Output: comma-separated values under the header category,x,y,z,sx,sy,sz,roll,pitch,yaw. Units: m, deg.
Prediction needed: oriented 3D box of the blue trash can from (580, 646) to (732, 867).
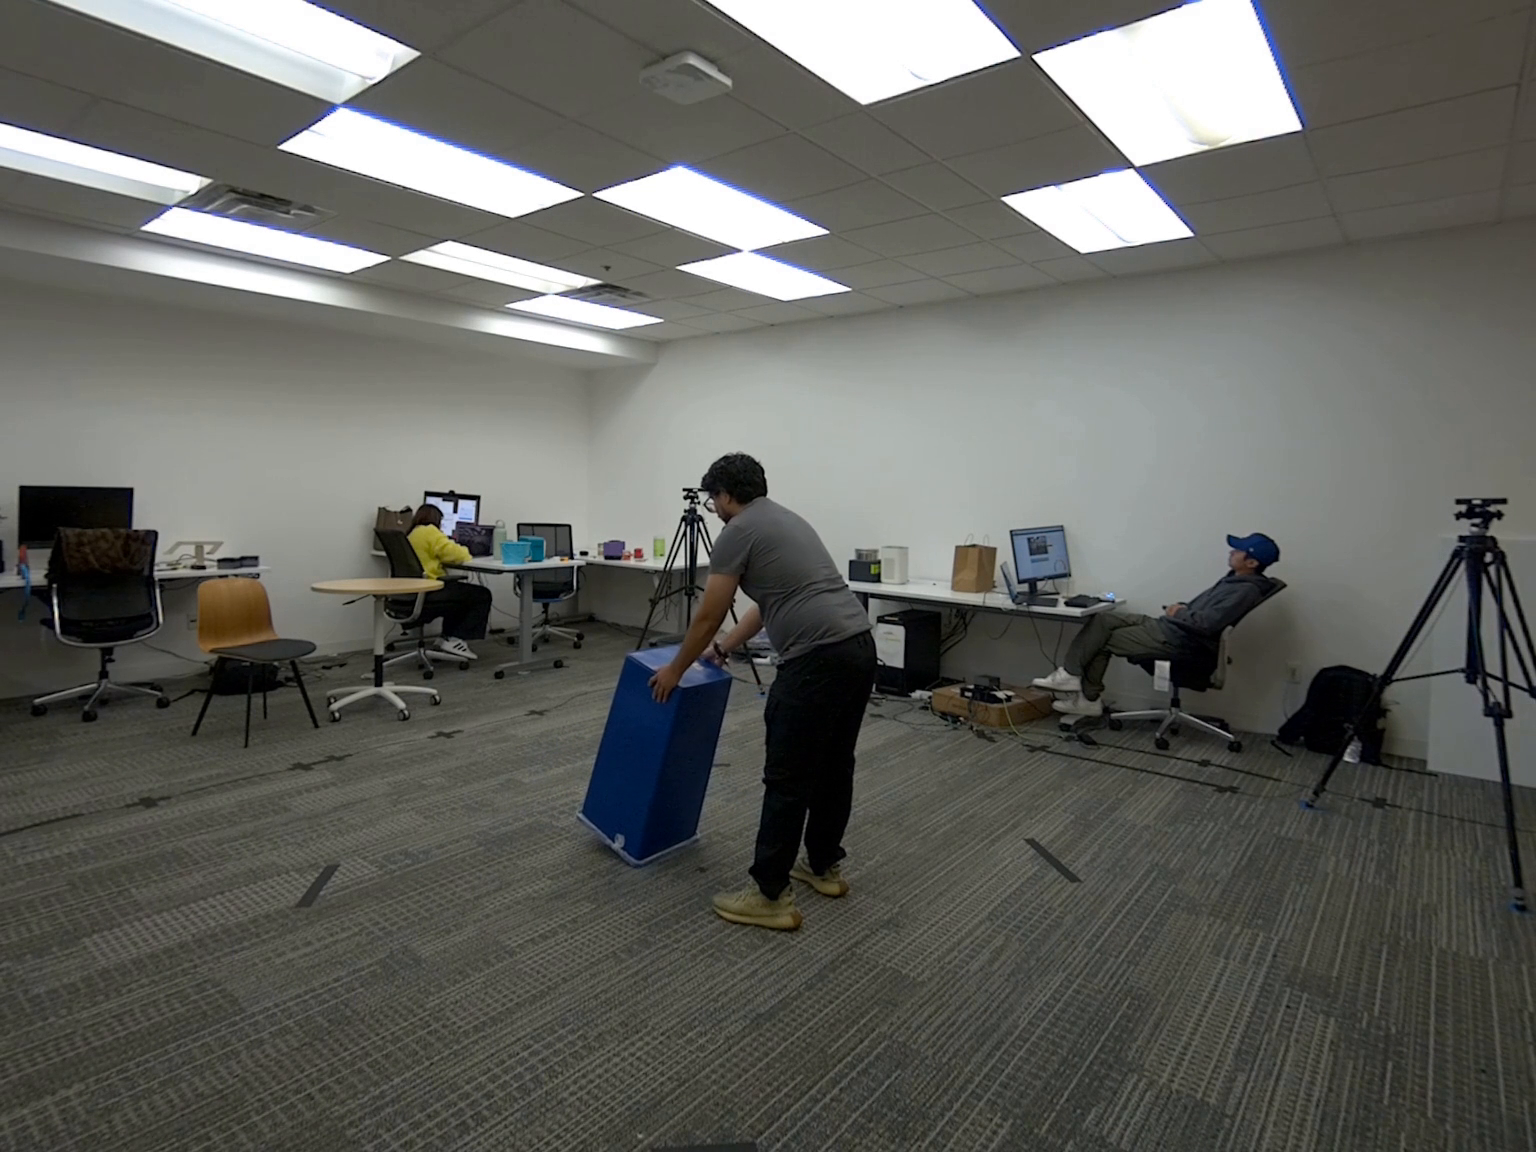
category,x,y,z,sx,sy,sz,roll,pitch,yaw
blue trash can,-0.425,0.662,3.270,0.393,0.707,0.363,25,16,34
